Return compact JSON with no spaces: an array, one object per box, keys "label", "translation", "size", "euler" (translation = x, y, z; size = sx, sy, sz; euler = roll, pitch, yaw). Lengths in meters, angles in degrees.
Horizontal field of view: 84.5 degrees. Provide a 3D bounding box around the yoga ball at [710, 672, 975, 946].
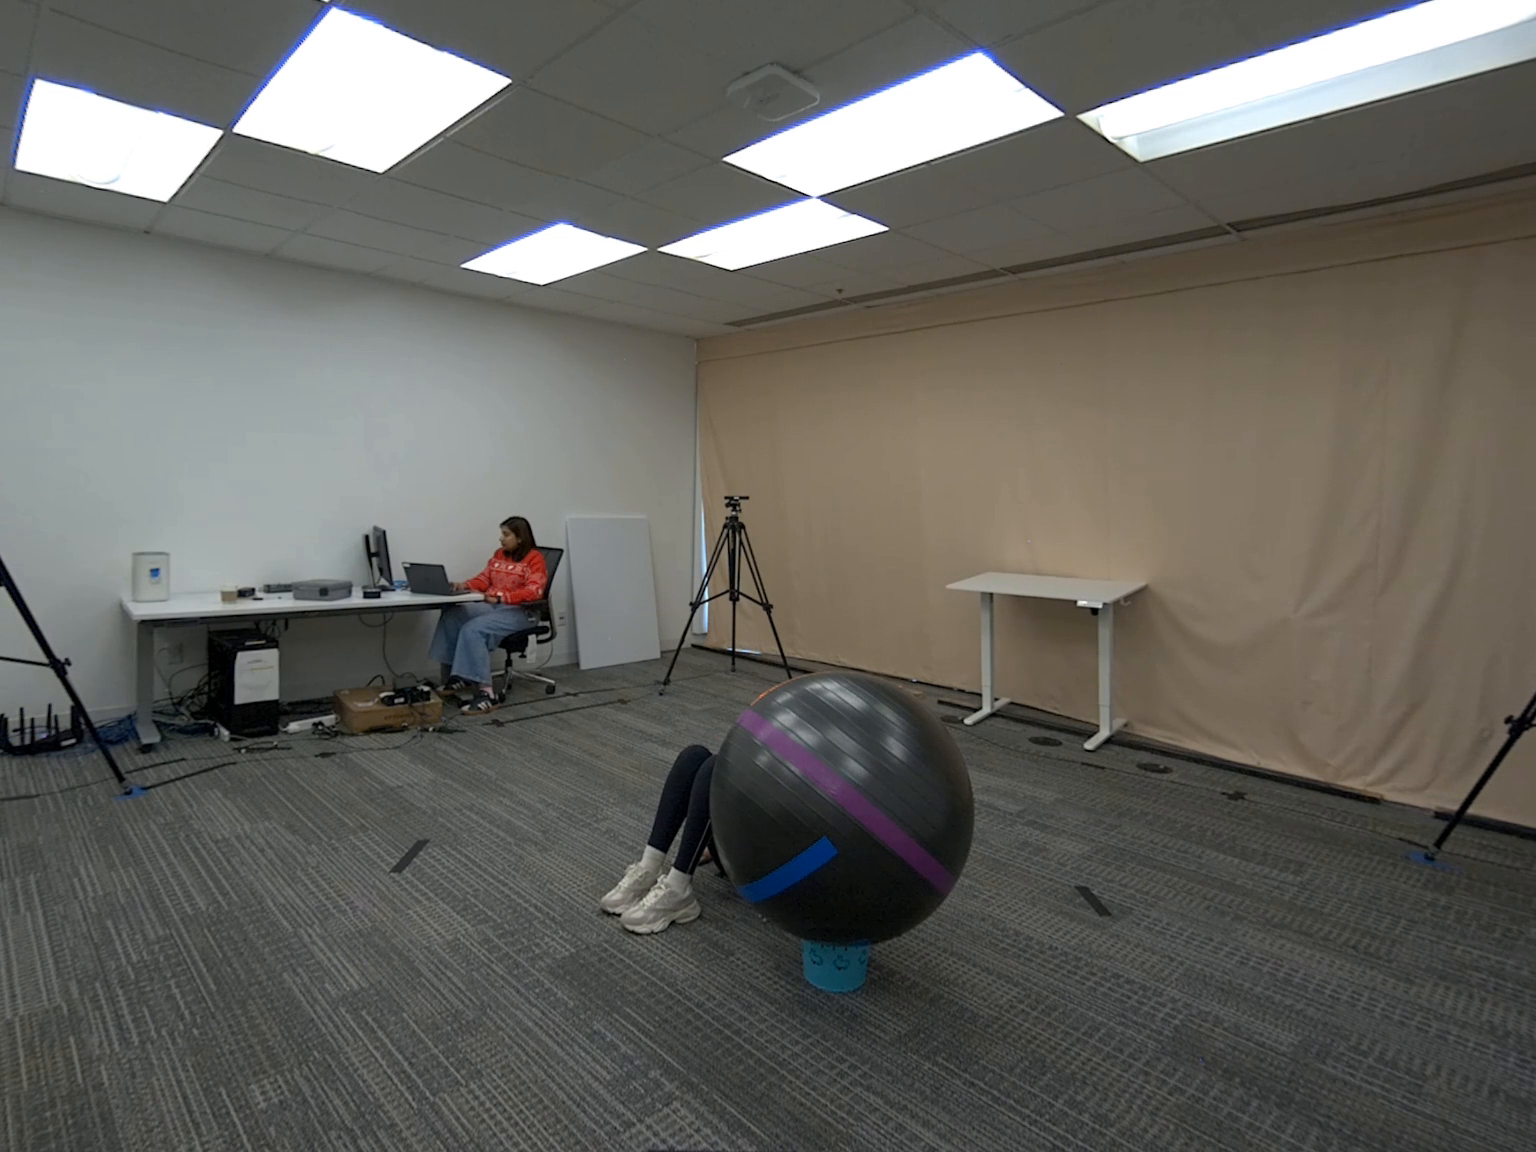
[{"label":"yoga ball","translation":[0.210,0.662,2.447],"size":[0.757,0.754,0.762],"euler":[0,7,-1]}]
